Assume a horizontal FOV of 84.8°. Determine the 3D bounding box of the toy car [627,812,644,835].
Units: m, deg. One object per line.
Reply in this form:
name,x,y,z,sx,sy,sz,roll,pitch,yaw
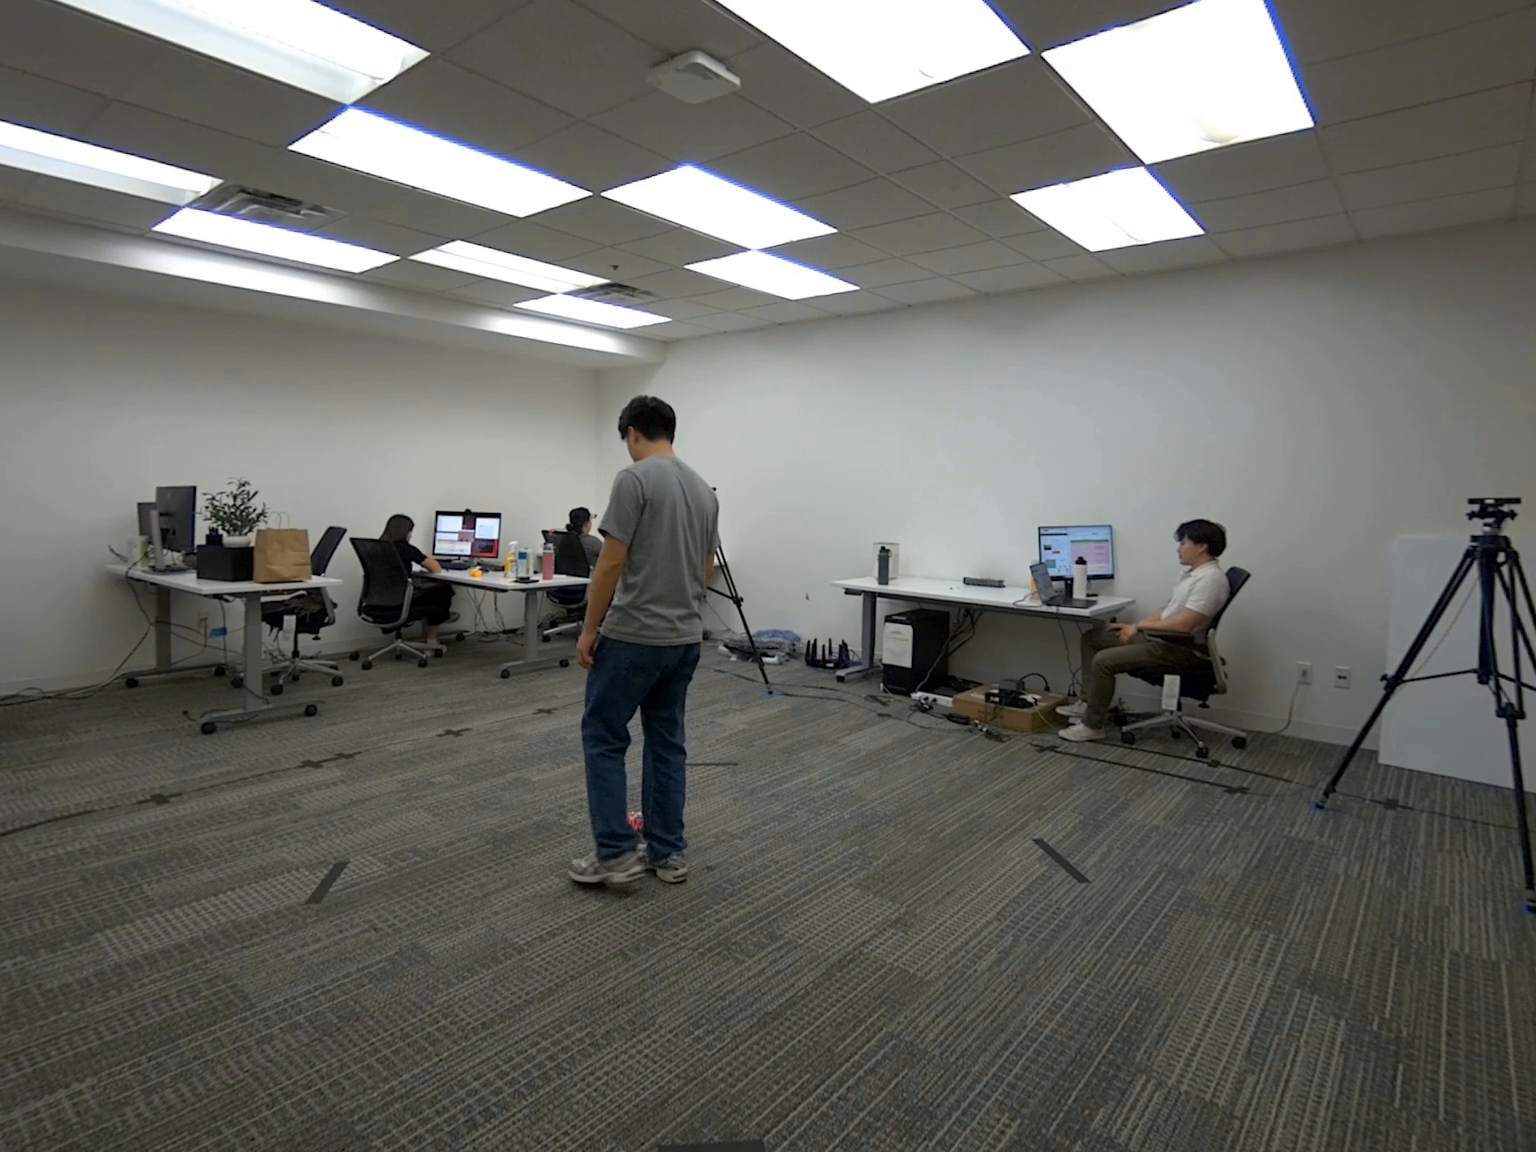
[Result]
toy car,-0.570,0.996,3.400,0.132,0.084,0.250,2,-6,9
